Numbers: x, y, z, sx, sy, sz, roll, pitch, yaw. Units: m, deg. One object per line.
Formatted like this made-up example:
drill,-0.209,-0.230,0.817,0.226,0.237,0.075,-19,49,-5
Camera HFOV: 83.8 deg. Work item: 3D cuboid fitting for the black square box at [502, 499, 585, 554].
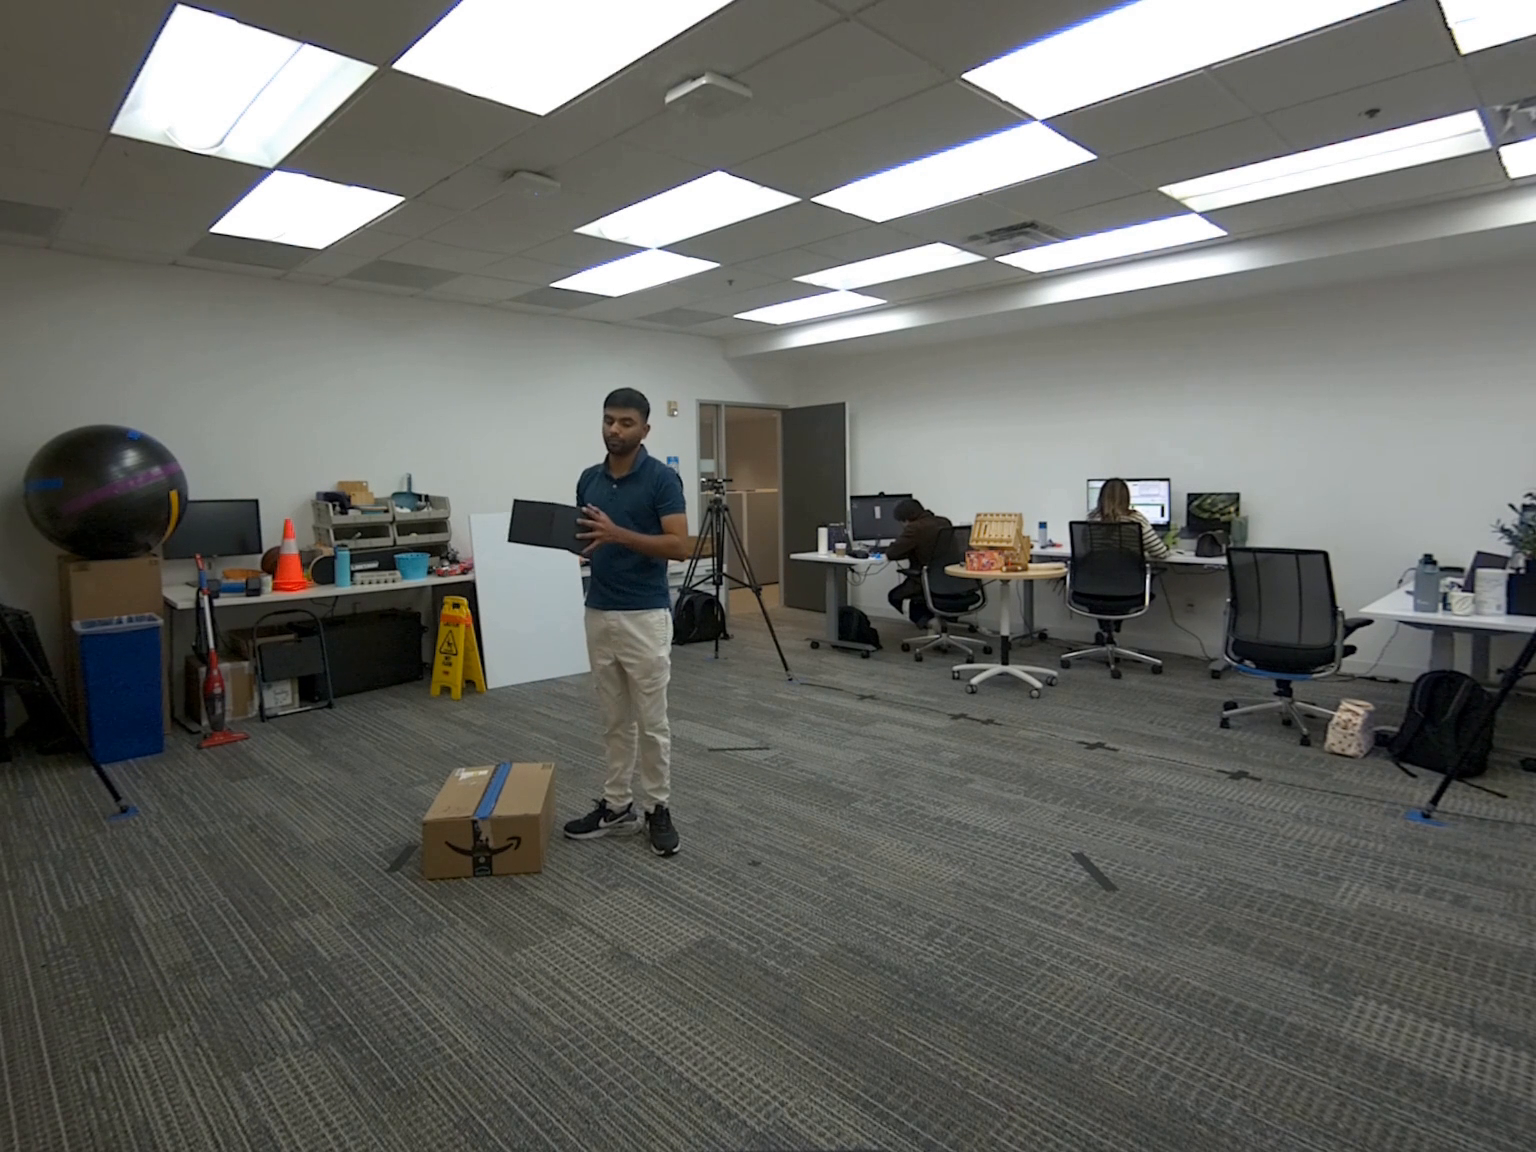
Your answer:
black square box,-0.774,-0.176,3.038,0.235,0.156,0.210,7,-1,35
